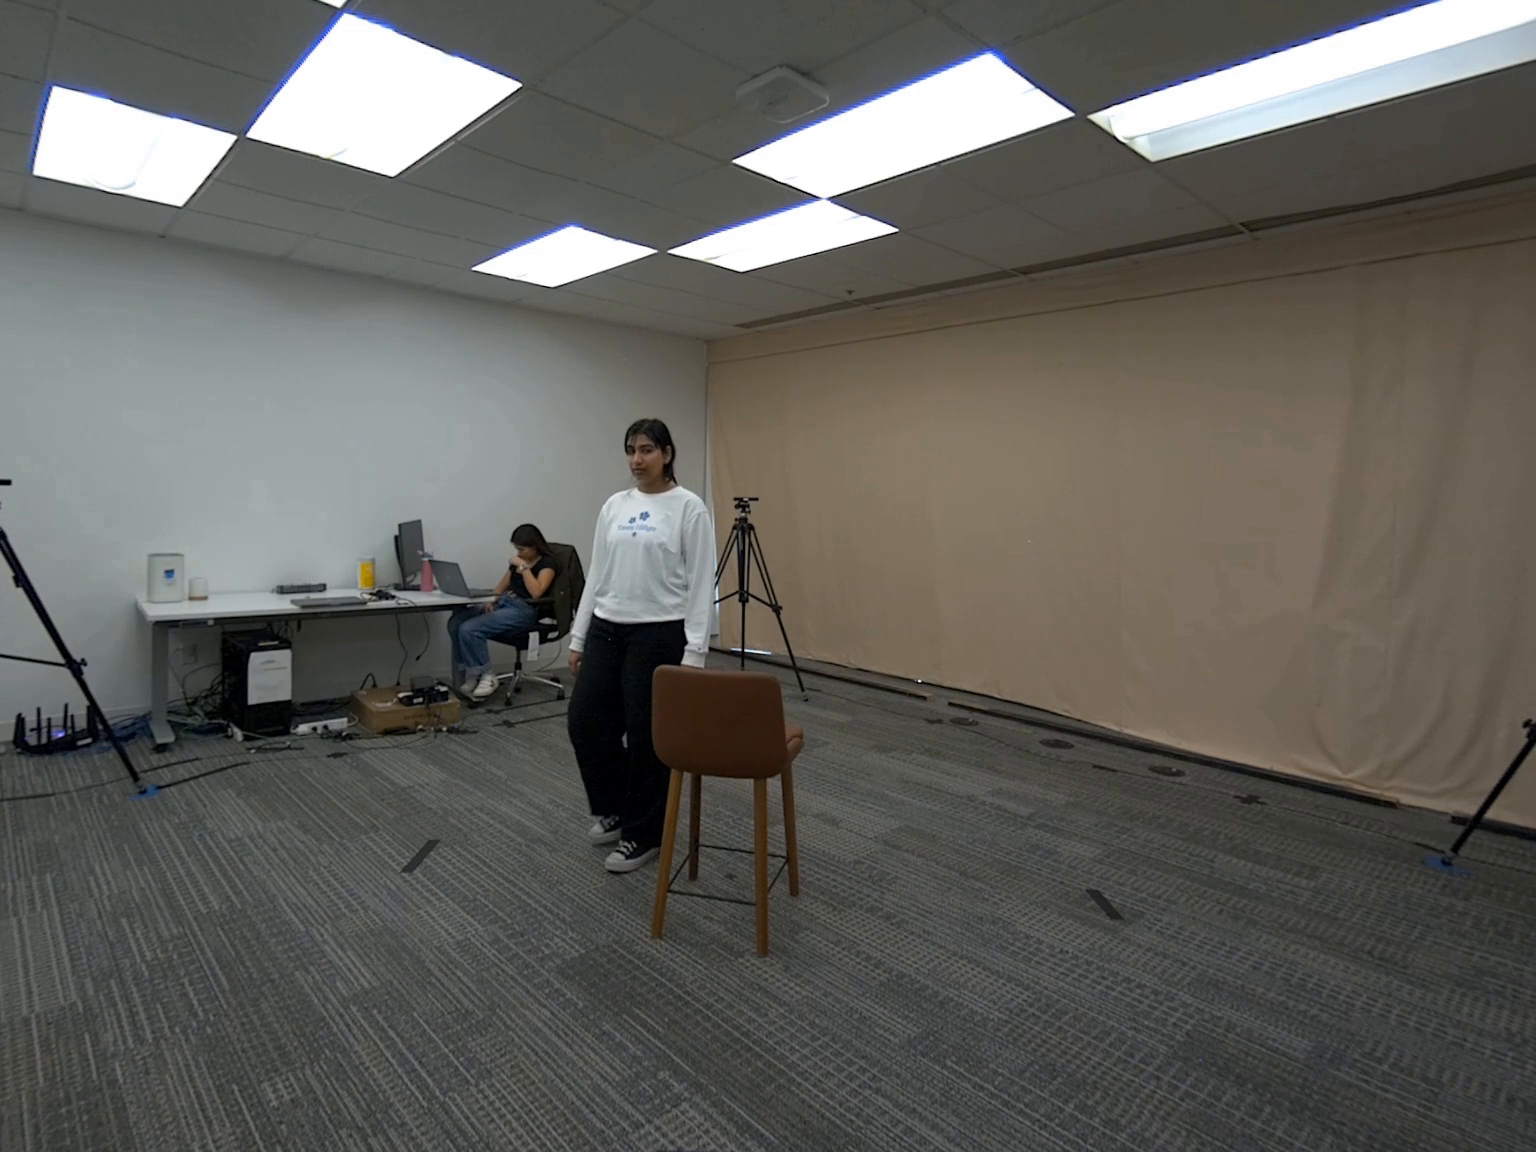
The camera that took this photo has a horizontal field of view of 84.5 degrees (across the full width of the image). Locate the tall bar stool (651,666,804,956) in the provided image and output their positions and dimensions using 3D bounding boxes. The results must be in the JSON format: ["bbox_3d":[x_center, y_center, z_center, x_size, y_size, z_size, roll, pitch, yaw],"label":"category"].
[{"bbox_3d":[-0.133,0.704,2.787,0.462,0.886,0.463,2,6,15],"label":"tall bar stool"}]
